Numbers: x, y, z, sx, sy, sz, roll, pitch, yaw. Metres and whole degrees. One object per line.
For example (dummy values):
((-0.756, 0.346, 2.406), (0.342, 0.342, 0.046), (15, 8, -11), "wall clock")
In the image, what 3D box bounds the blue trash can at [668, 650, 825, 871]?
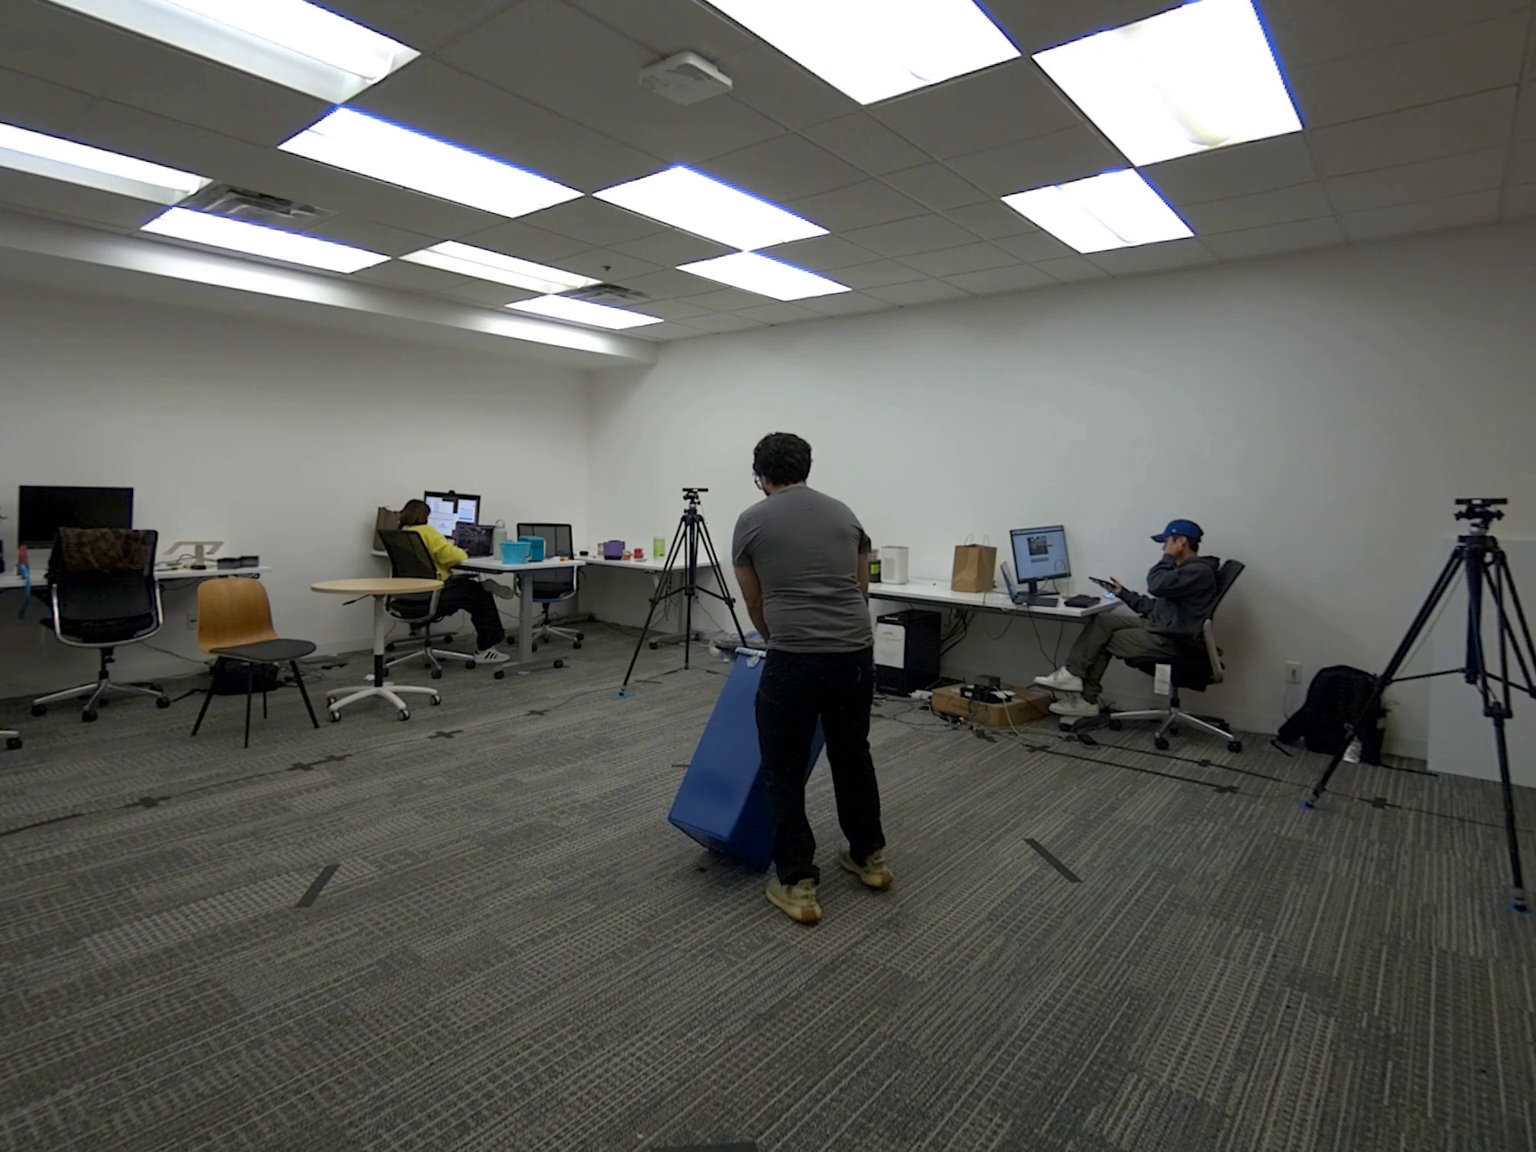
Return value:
((-0.060, 0.688, 3.255), (0.387, 0.719, 0.362), (5, -33, 38), "blue trash can")
